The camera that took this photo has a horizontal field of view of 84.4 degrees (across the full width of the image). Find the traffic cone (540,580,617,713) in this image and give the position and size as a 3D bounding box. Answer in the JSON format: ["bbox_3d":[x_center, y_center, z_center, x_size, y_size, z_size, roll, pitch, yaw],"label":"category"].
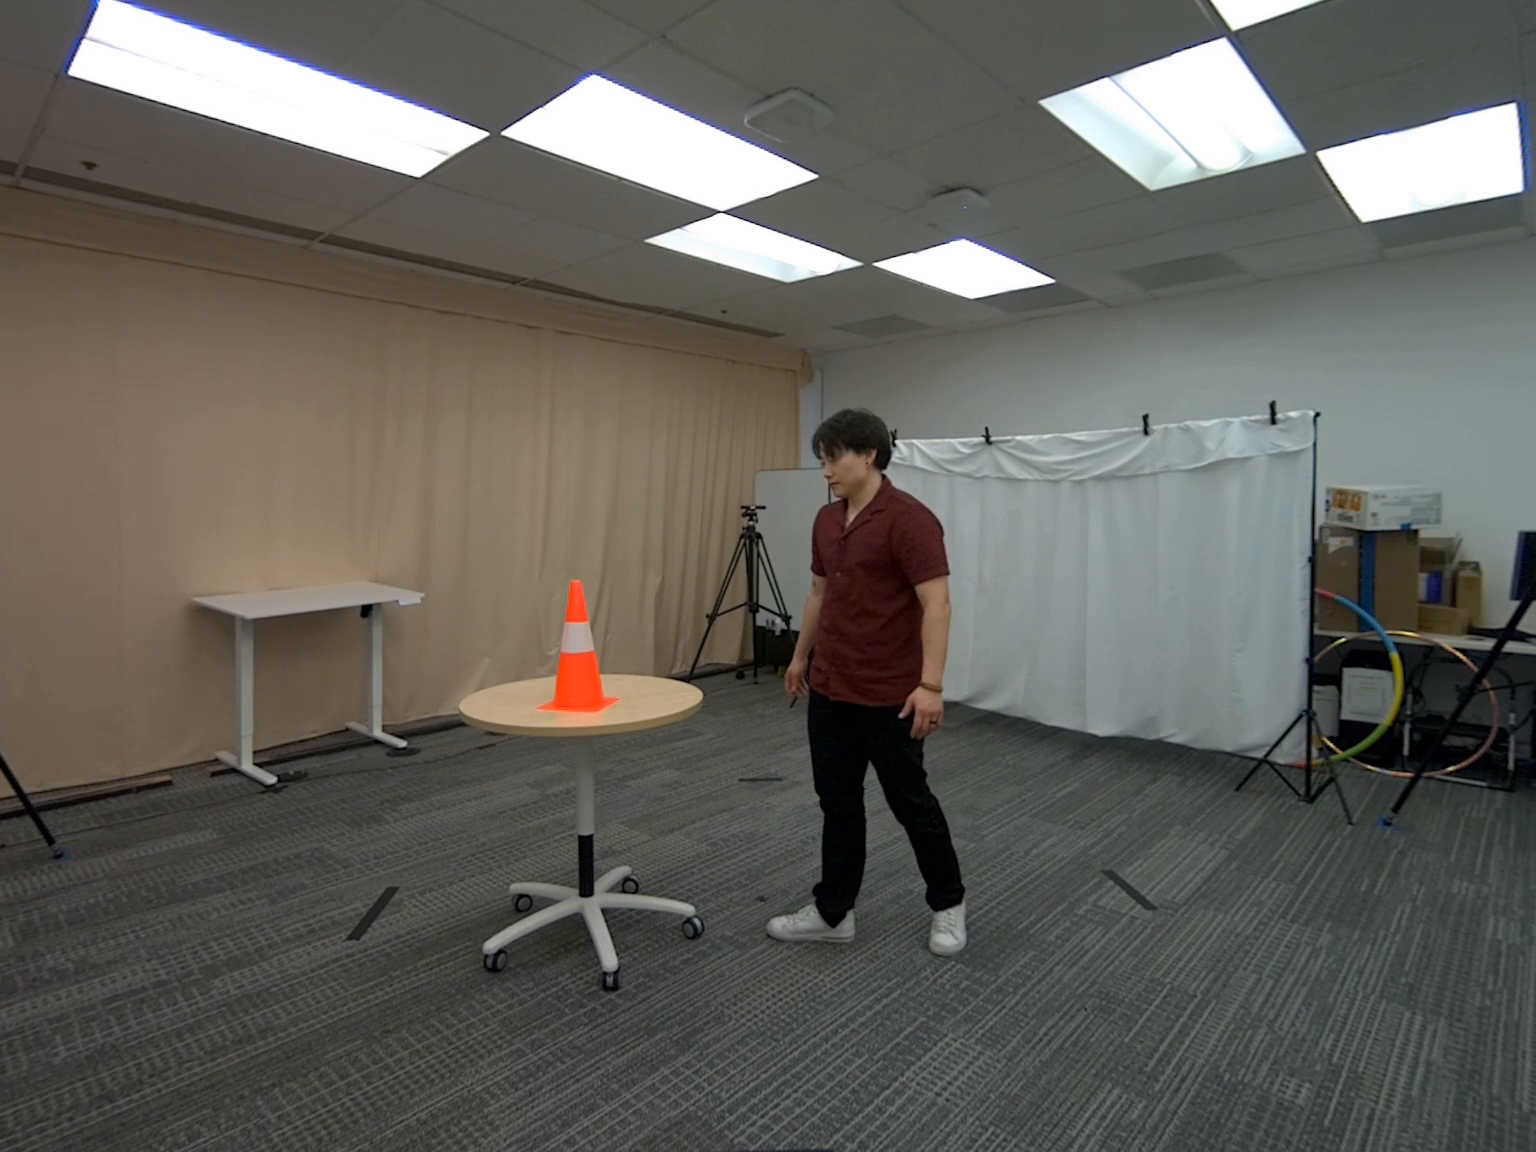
[{"bbox_3d":[-0.590,0.212,2.591,0.207,0.383,0.201,-1,2,10],"label":"traffic cone"}]
